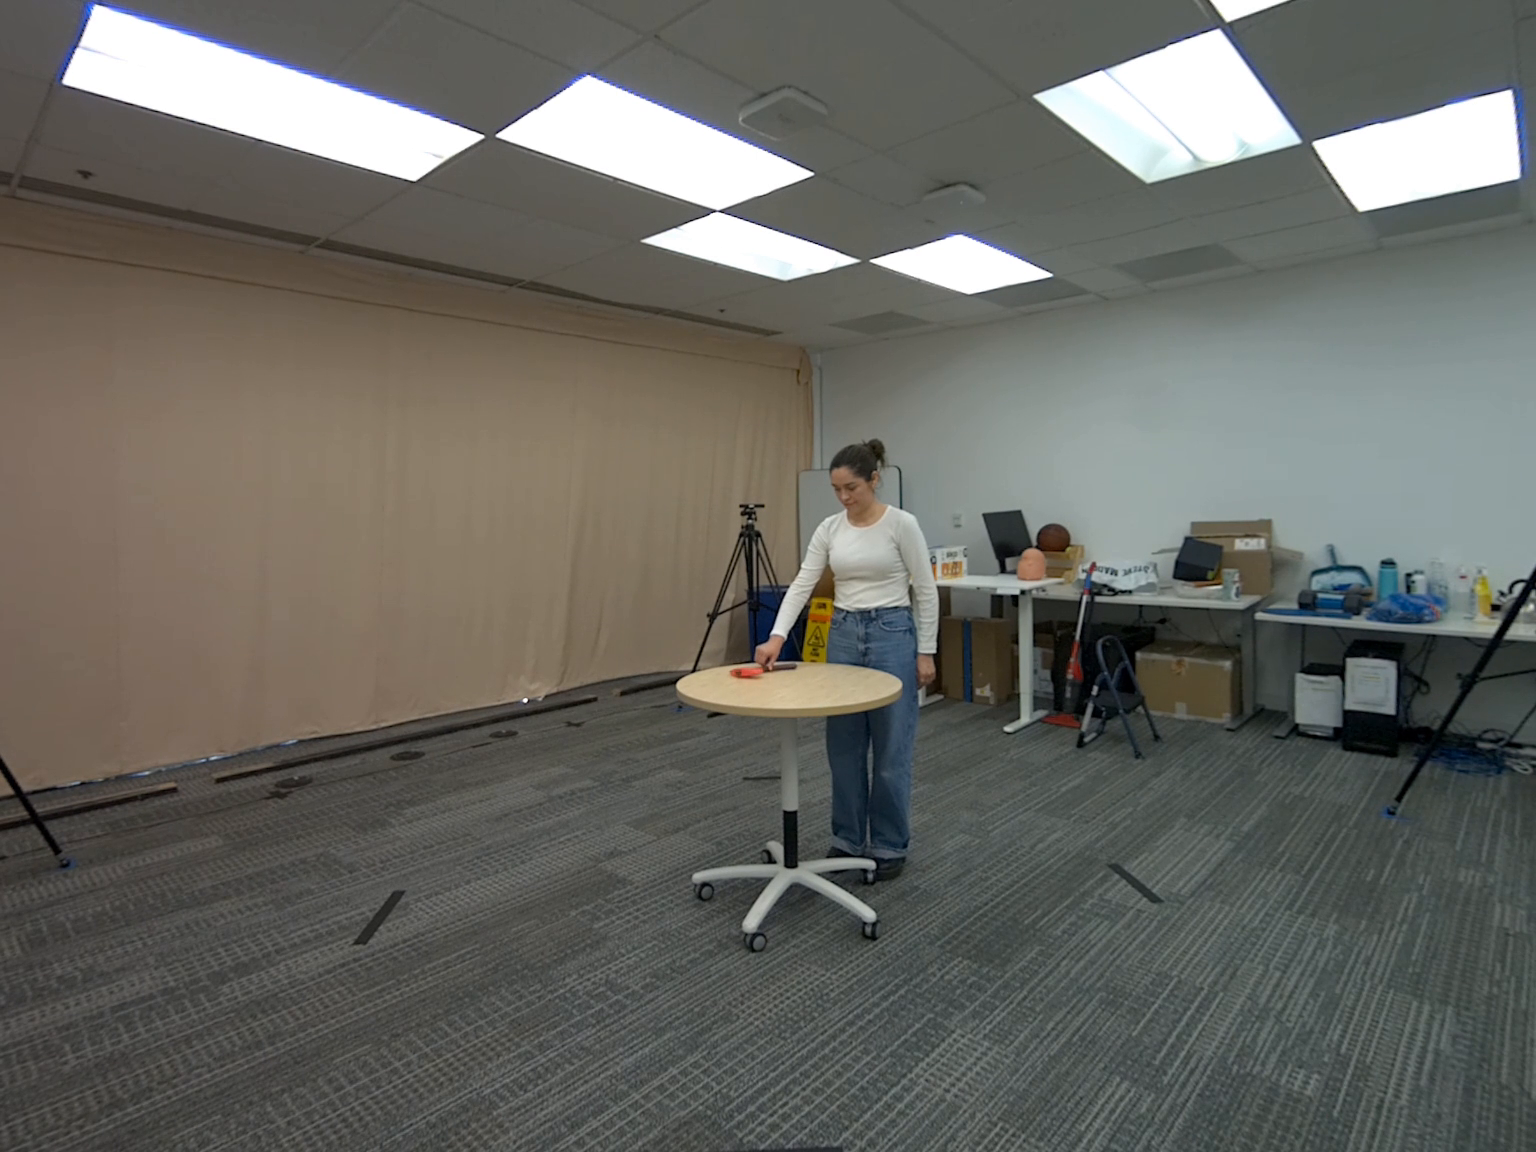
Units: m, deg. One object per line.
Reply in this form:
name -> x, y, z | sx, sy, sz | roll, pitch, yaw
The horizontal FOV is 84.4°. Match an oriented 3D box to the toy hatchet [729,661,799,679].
toy hatchet -> 0.002, 0.340, 3.029 | 0.264, 0.030, 0.134 | -2, -3, -24
